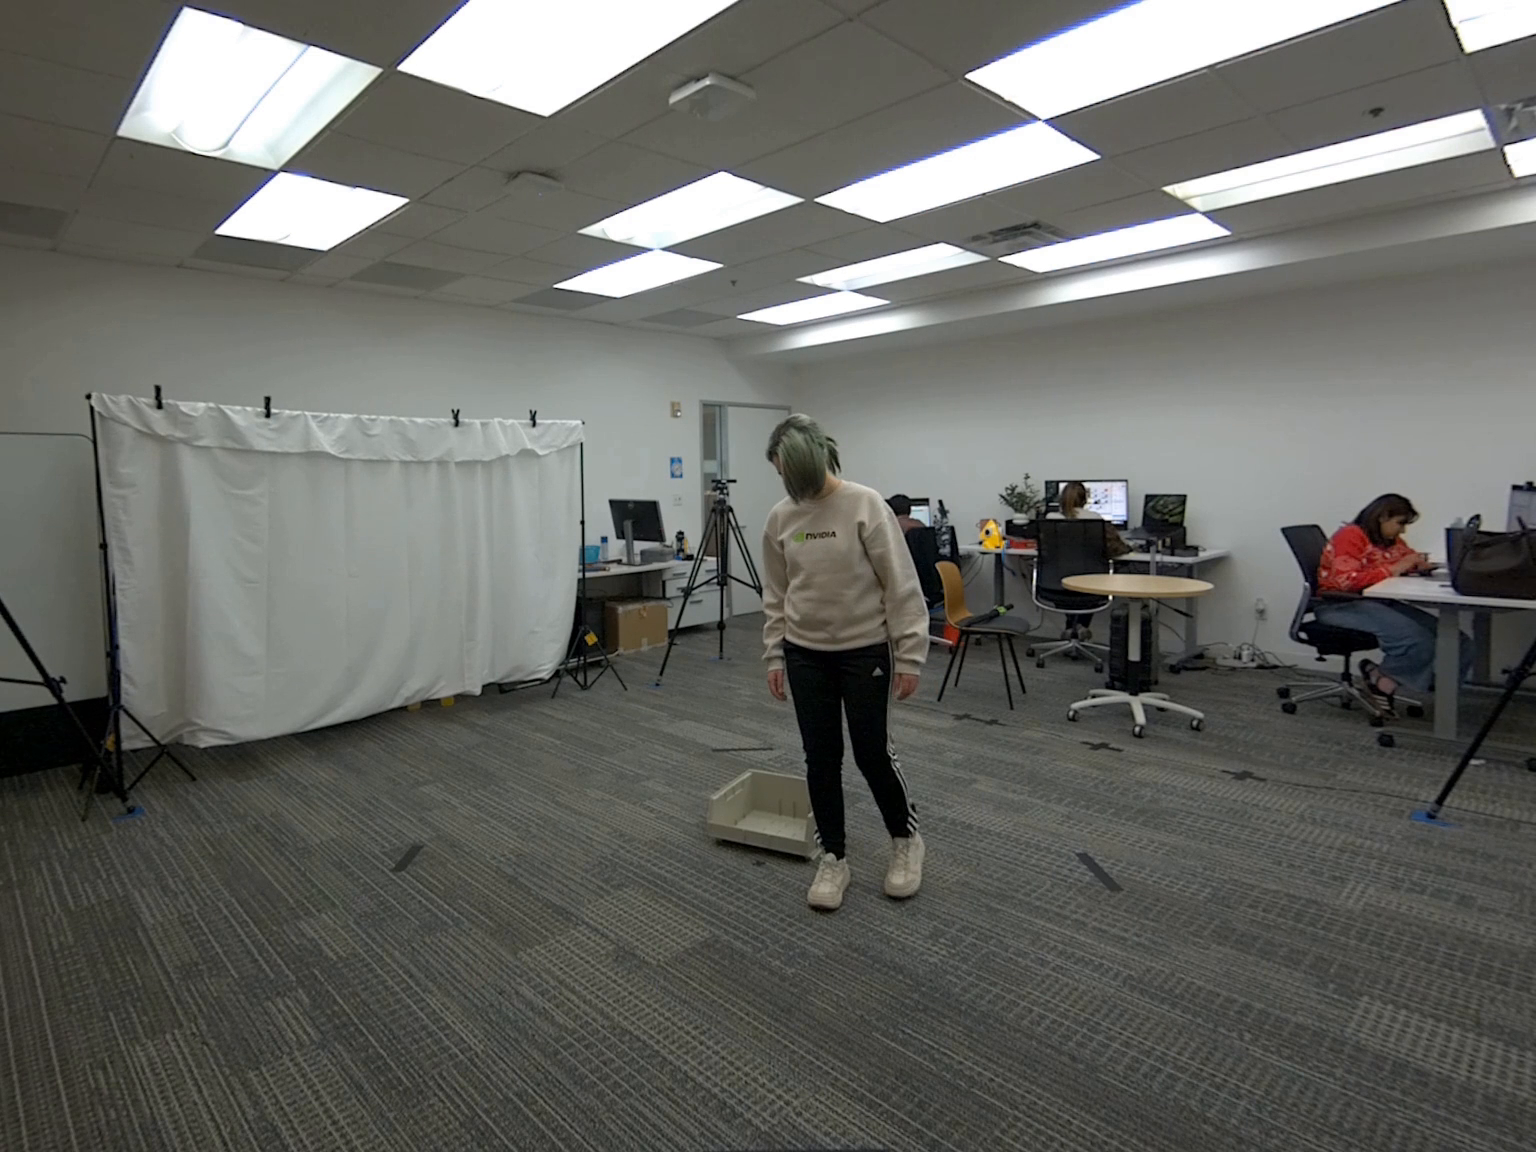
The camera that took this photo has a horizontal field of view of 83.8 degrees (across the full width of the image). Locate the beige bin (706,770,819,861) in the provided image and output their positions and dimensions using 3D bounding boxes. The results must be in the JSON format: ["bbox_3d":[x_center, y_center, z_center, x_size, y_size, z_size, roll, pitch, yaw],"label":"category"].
[{"bbox_3d":[0.036,0.932,3.337,0.432,0.188,0.370,2,5,26],"label":"beige bin"}]
